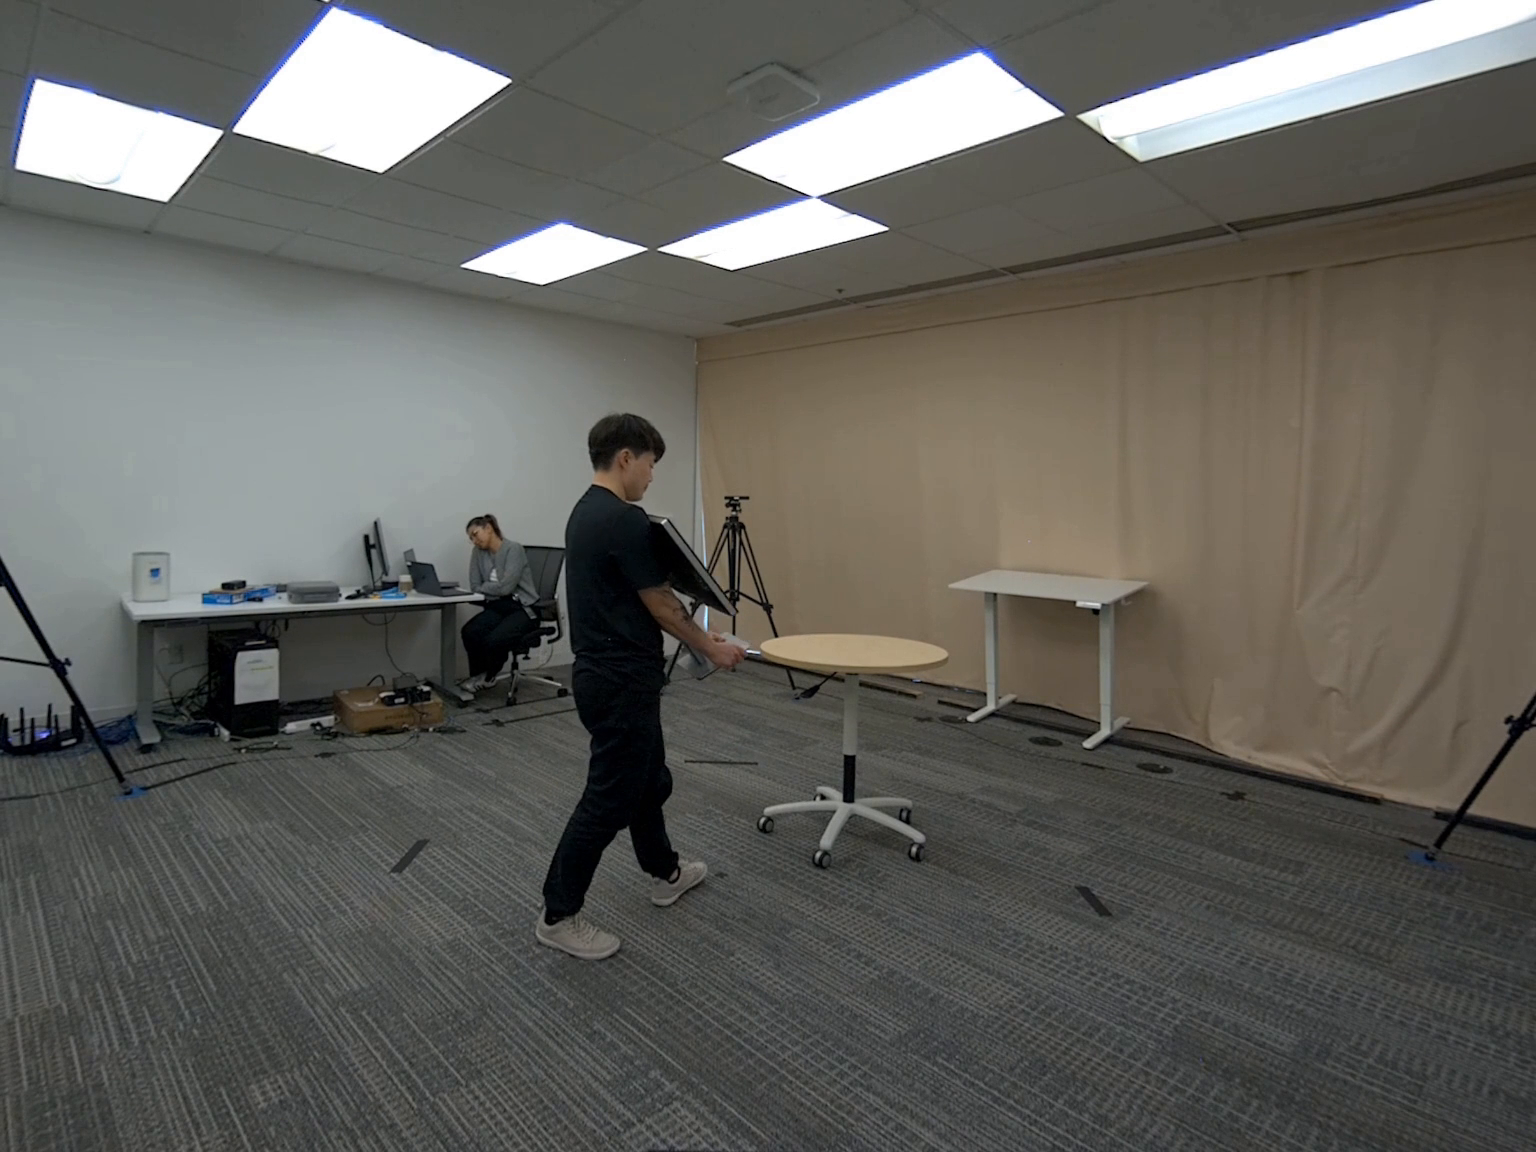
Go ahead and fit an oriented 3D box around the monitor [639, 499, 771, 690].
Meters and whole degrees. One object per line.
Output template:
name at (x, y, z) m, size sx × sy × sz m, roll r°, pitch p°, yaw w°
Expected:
monitor at (-0.292, 0.034, 2.729) m, size 0.186 × 0.514 × 0.550 m, roll -31°, pitch 17°, yaw -19°
